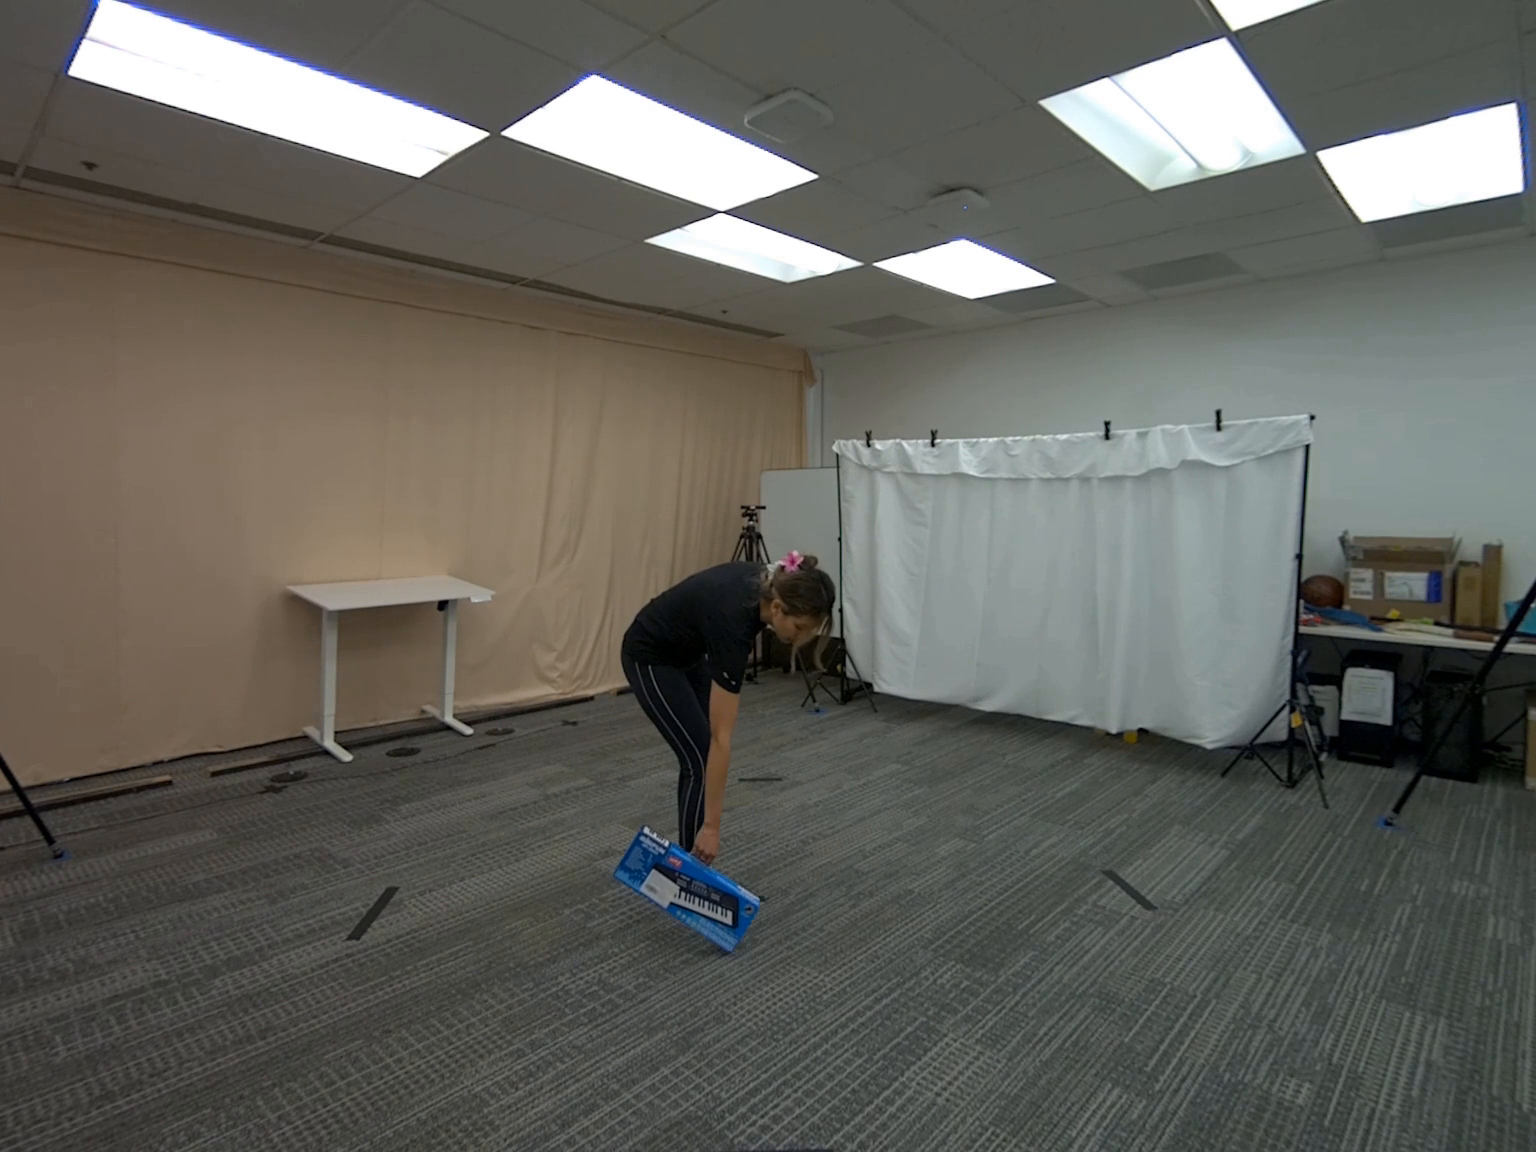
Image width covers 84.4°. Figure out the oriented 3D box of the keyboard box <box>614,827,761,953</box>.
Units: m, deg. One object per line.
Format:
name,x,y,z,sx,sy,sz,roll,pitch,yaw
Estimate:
keyboard box,-0.247,0.973,2.627,0.438,0.176,0.059,31,6,3
